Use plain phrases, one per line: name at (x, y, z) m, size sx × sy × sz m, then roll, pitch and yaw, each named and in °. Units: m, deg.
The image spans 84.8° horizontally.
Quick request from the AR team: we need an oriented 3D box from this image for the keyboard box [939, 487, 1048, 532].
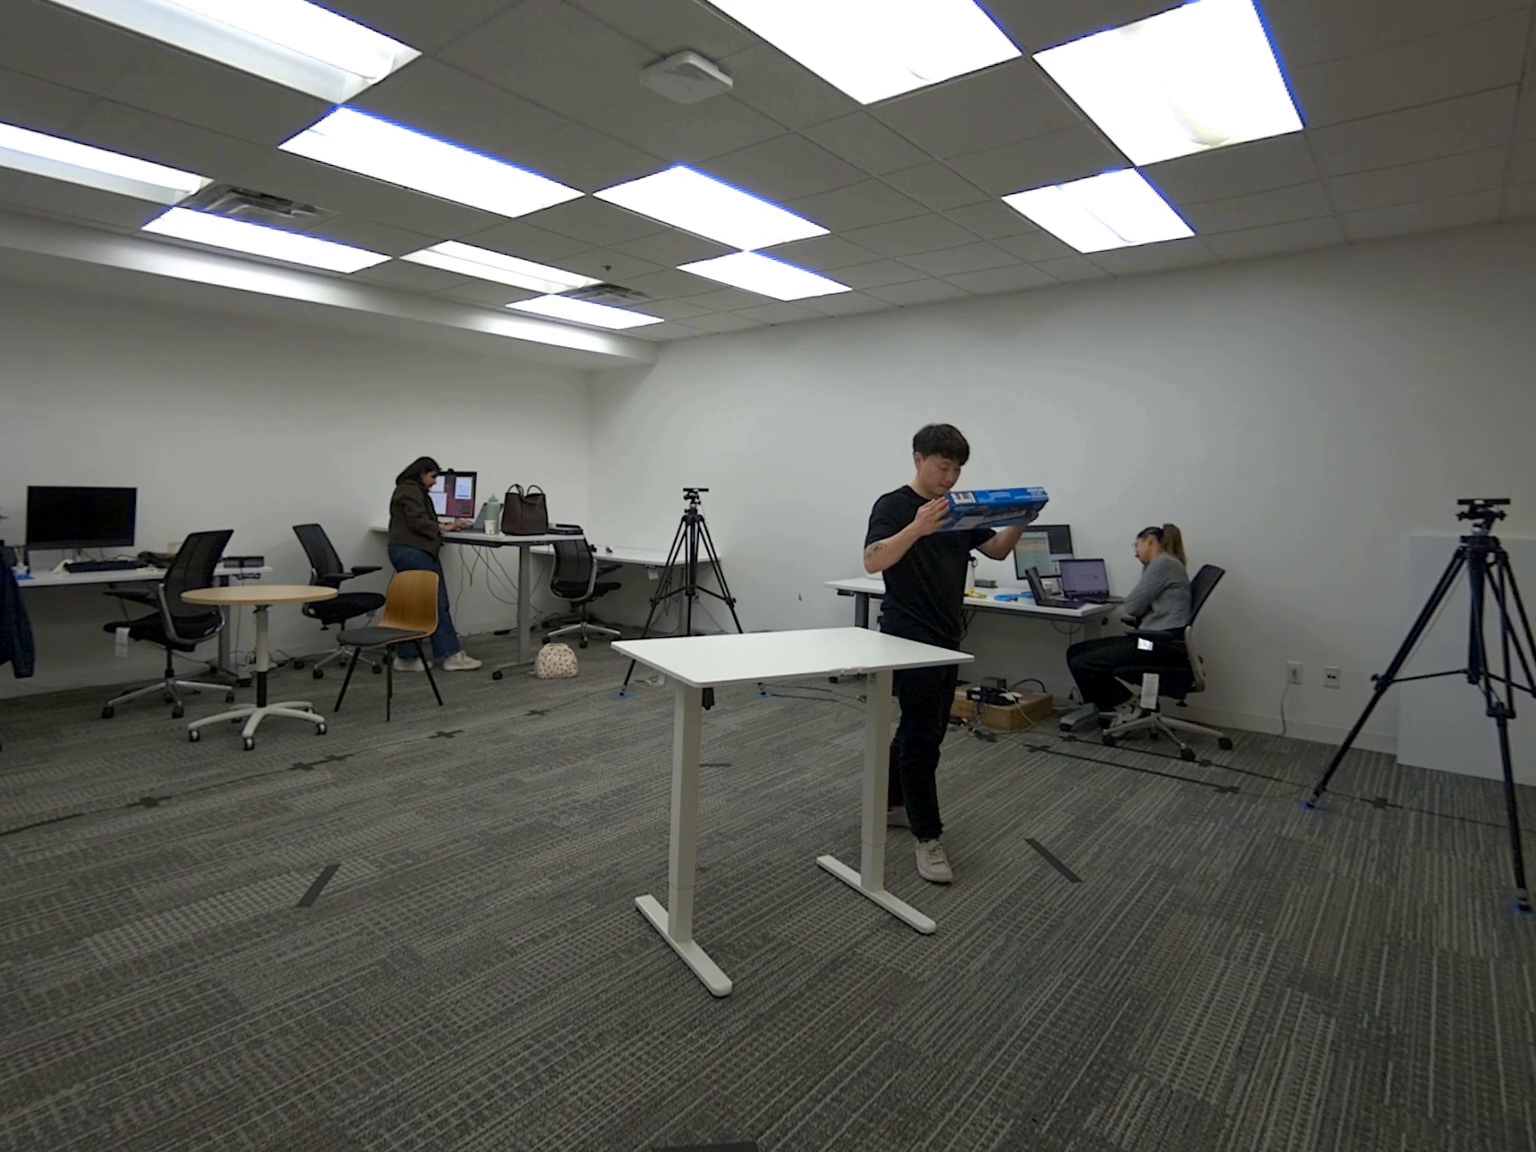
keyboard box at (0.765, -0.249, 3.024) m, size 0.427 × 0.061 × 0.175 m, roll -5°, pitch -25°, yaw -25°
